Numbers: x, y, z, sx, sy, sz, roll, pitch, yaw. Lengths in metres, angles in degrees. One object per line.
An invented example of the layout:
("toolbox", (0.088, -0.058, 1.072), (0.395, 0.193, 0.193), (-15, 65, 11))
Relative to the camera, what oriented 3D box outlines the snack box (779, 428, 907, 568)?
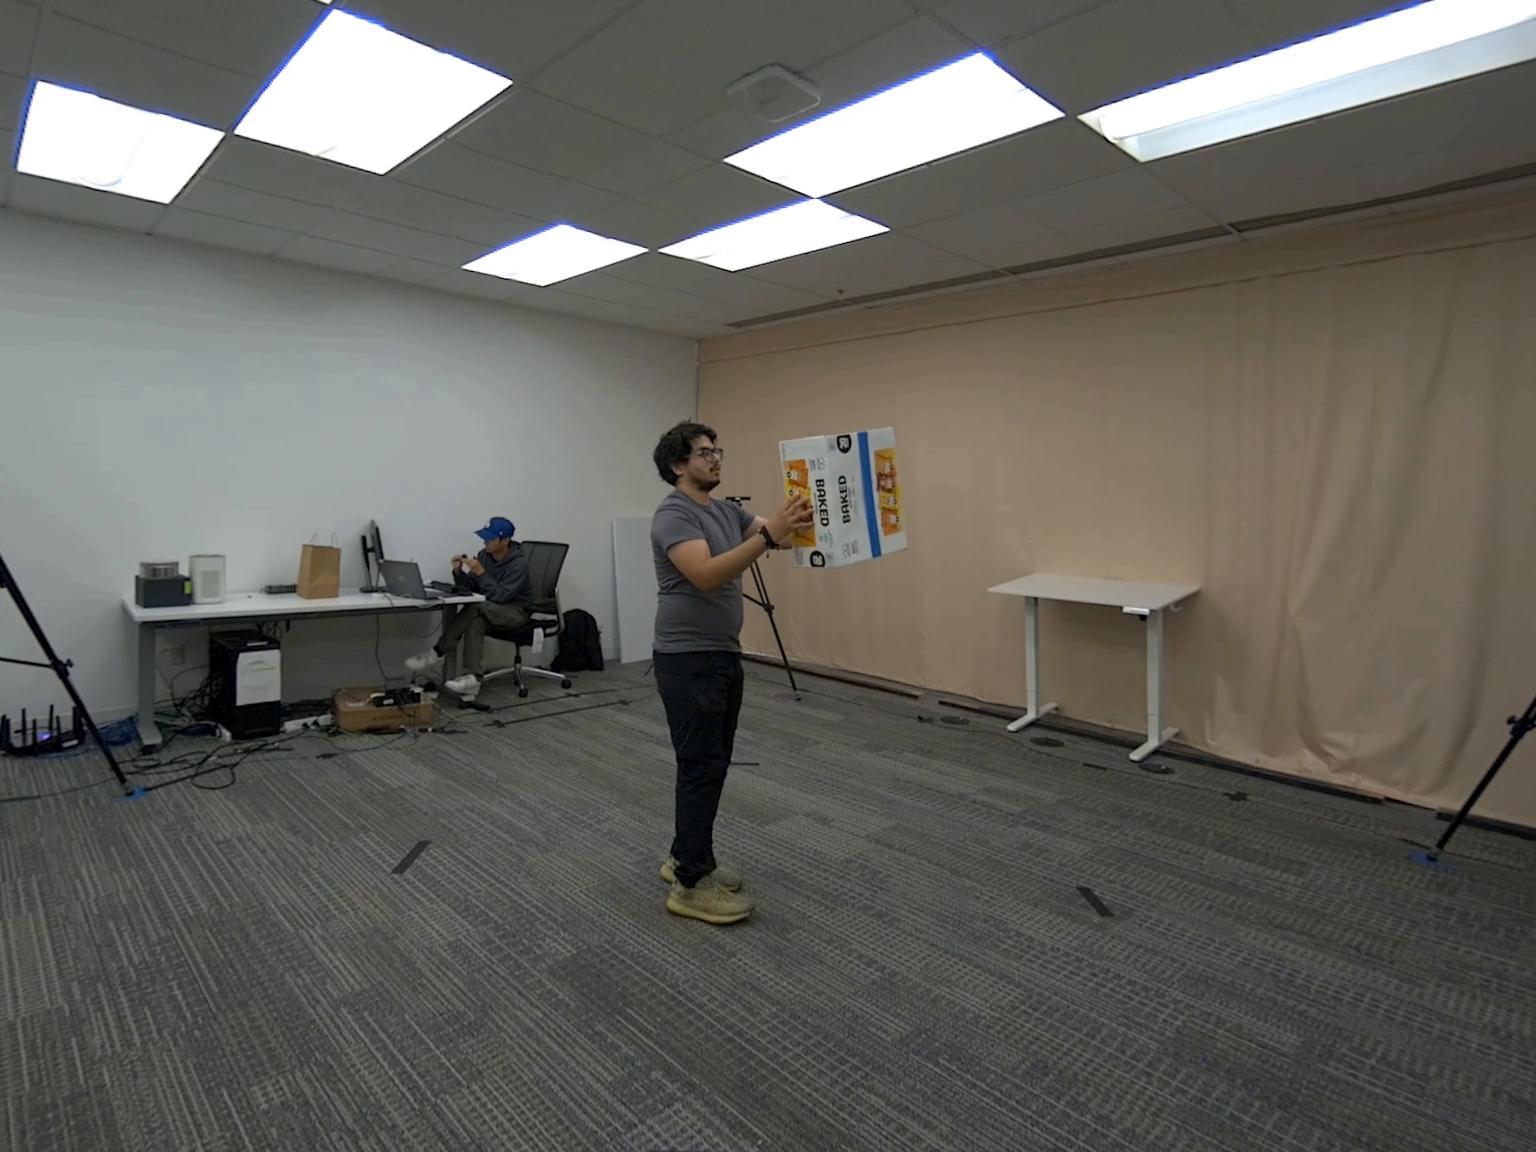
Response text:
("snack box", (0.238, -0.257, 2.727), (0.334, 0.403, 0.210), (-14, 10, -42))
